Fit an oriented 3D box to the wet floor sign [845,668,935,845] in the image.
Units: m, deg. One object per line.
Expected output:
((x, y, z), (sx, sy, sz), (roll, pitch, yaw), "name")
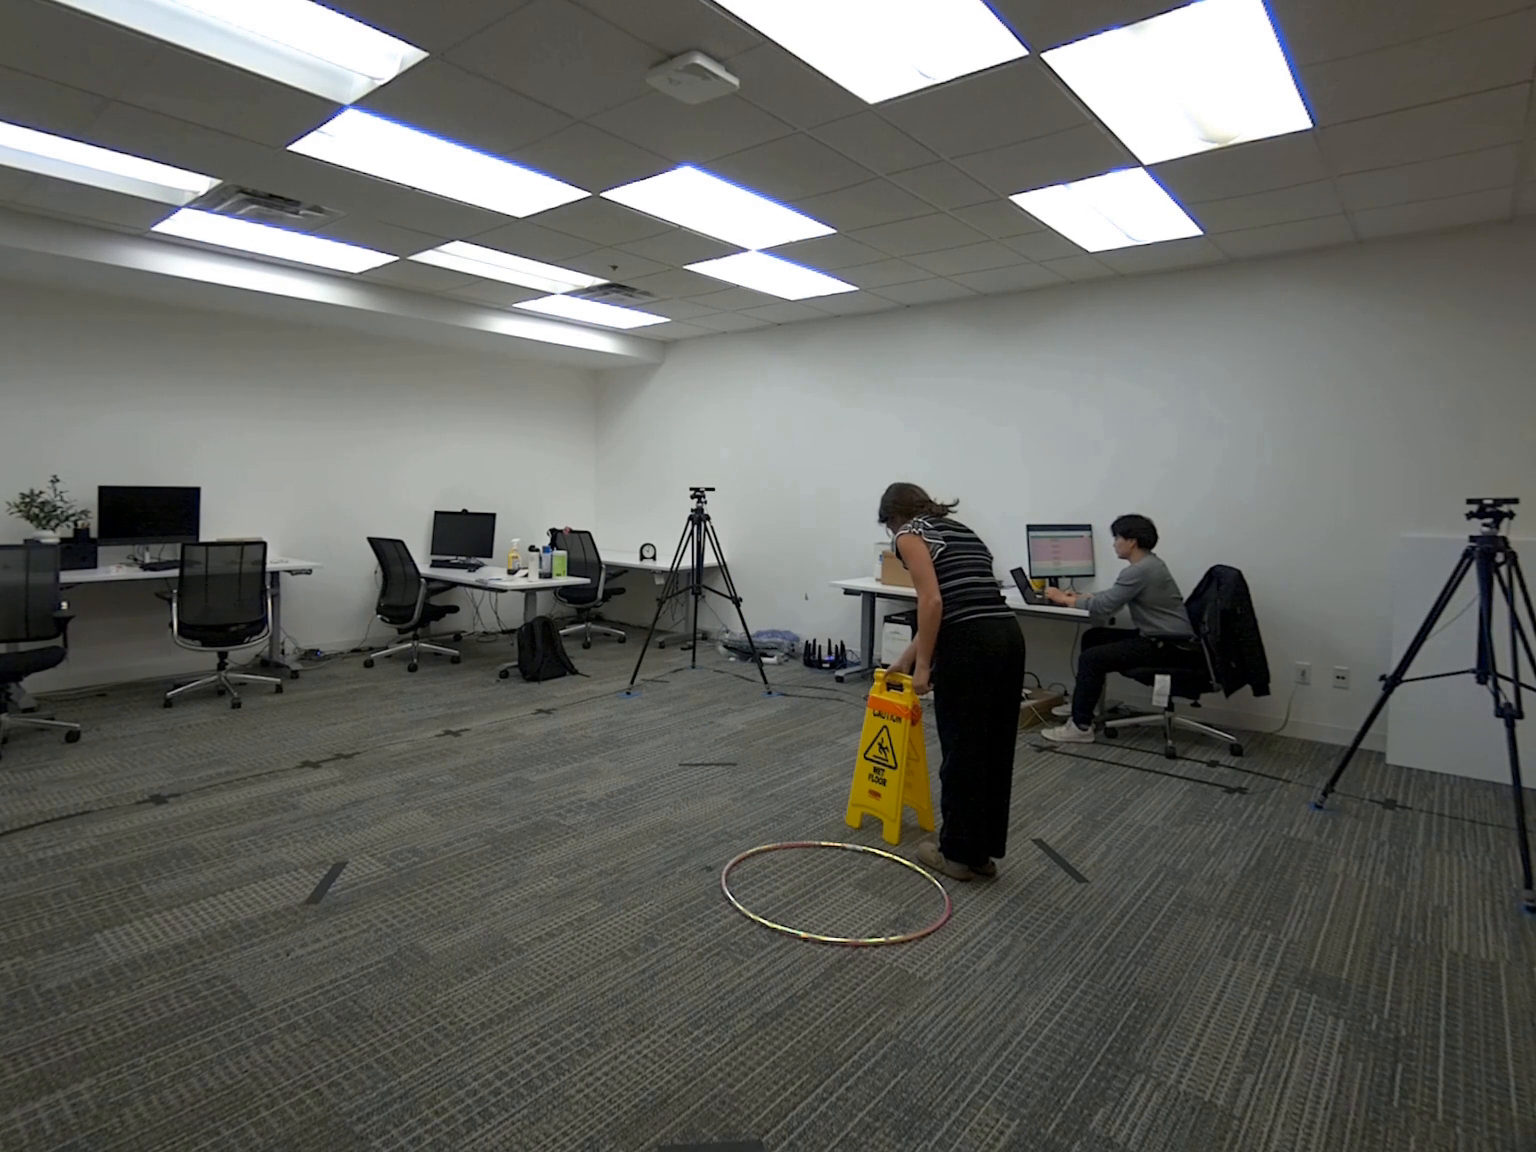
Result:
((0.504, 0.715, 3.517), (0.281, 0.644, 0.292), (-2, 4, -40), "wet floor sign")
